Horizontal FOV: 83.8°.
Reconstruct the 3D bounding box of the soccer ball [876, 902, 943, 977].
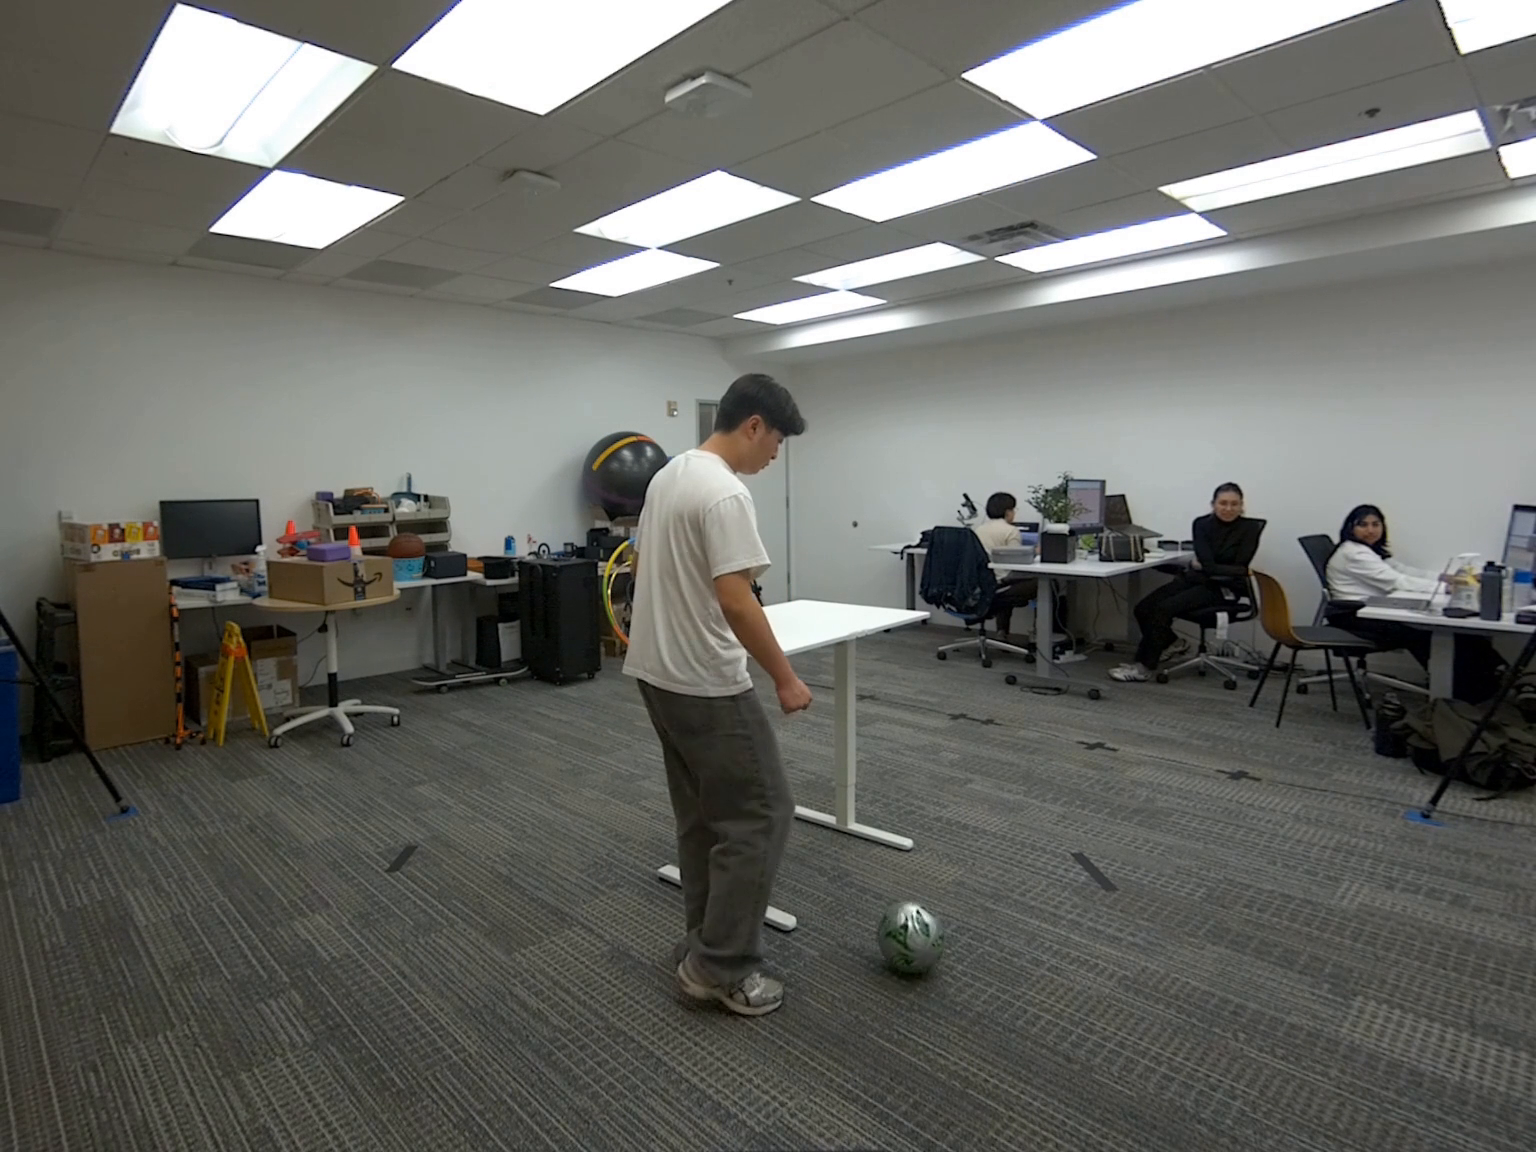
[{"bbox_3d":[0.410,1.024,2.414,0.187,0.187,0.188,-1,5,-2],"label":"soccer ball"}]
